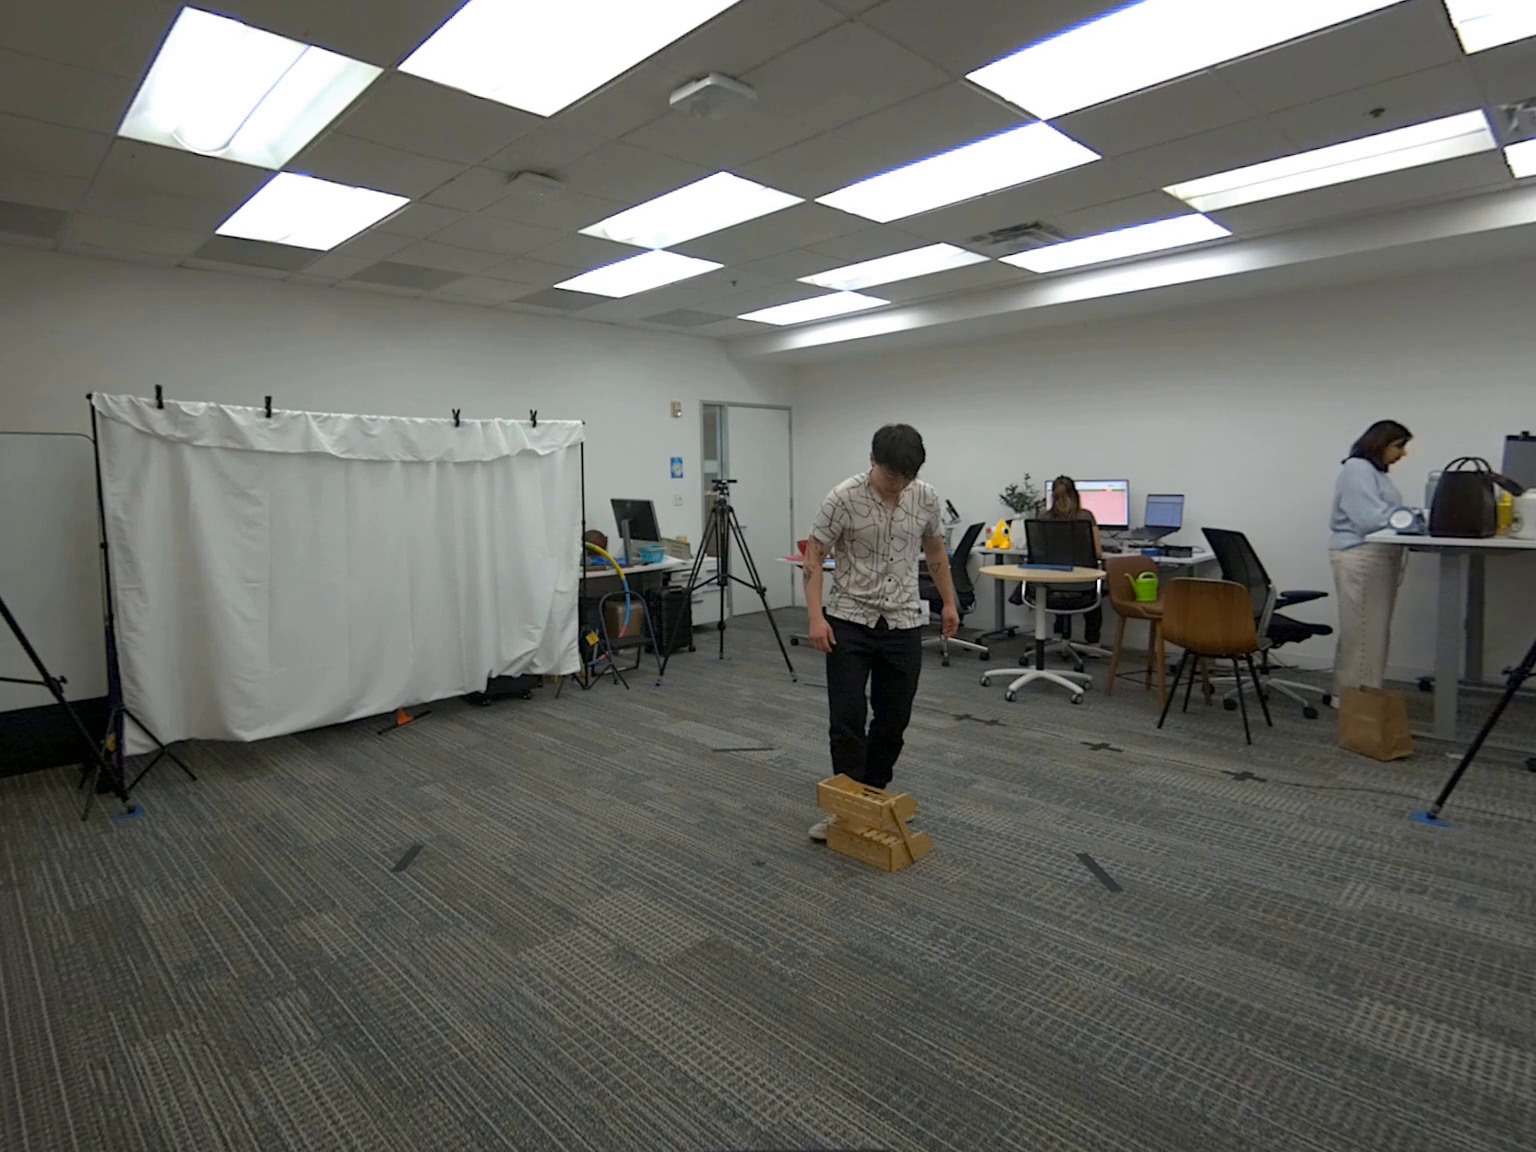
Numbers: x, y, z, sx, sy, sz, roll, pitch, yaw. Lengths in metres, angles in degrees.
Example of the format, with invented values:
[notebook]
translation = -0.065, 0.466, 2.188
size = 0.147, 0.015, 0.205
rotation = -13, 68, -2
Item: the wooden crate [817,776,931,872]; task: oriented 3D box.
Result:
[wooden crate]
translation = 0.395, 0.897, 3.193
size = 0.294, 0.272, 0.334
rotation = -6, 7, -44
